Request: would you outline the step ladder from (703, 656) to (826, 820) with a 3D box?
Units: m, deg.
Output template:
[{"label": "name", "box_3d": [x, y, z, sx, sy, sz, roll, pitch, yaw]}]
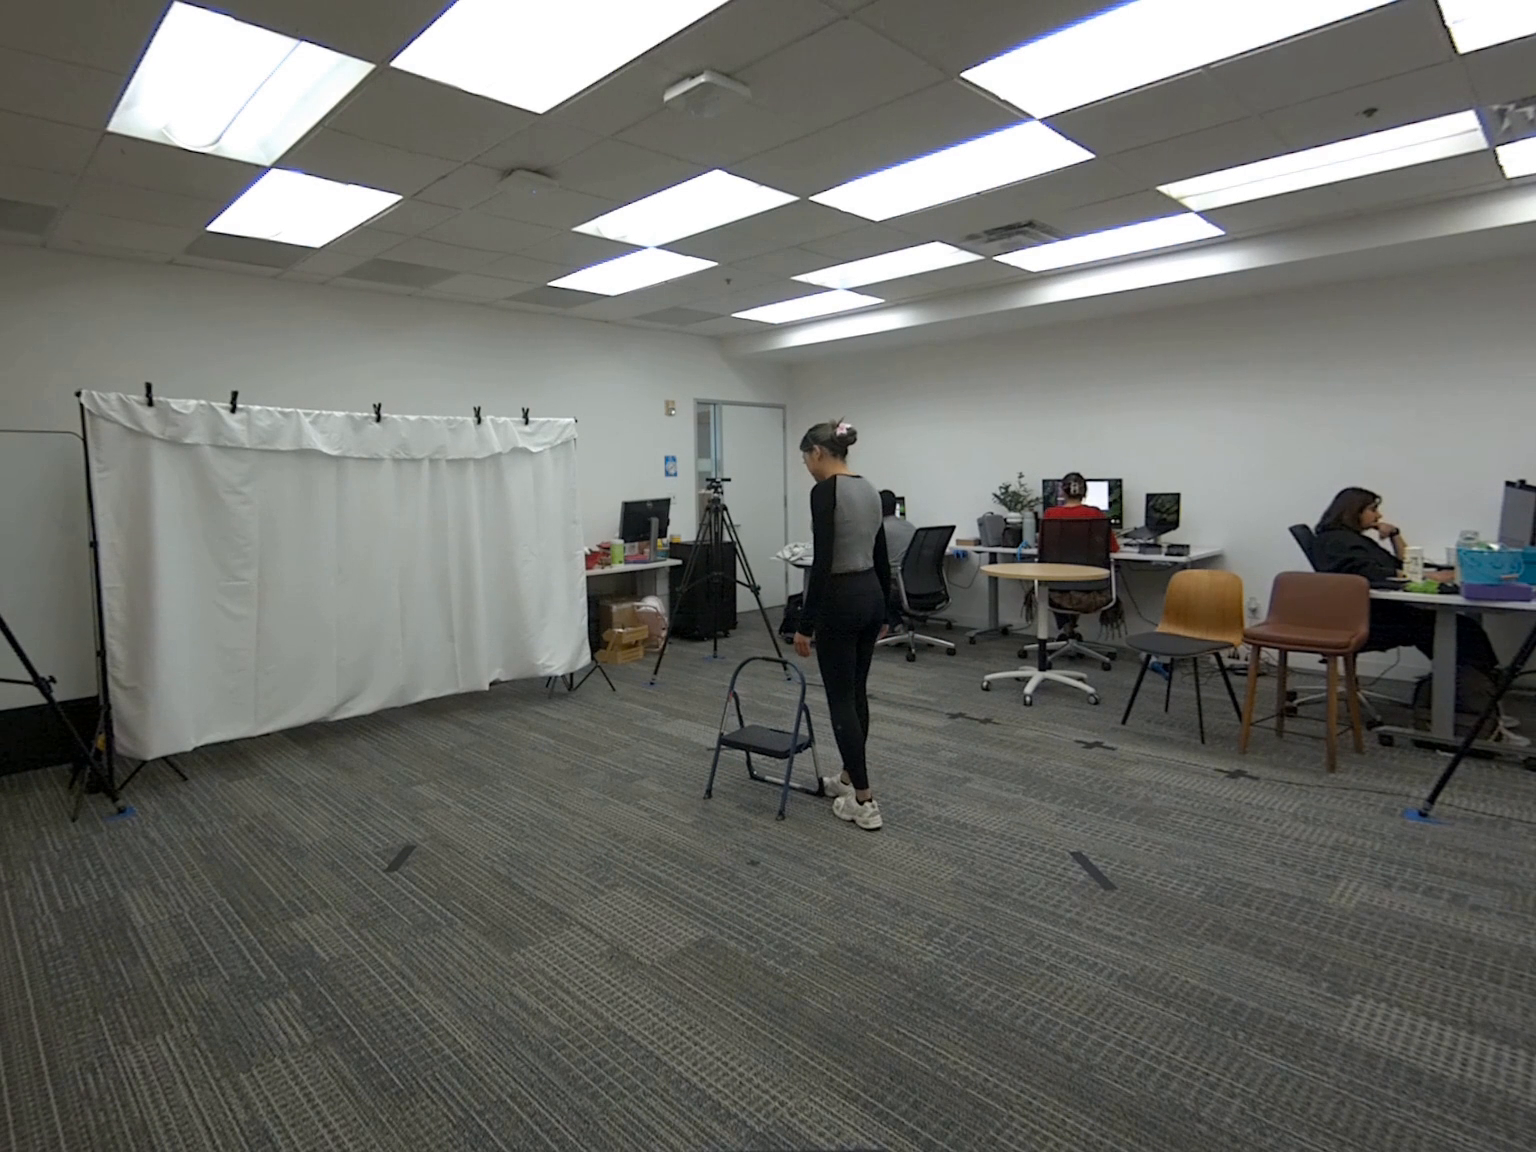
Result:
[{"label": "step ladder", "box_3d": [-0.017, 0.671, 3.732, 0.443, 0.604, 0.340, 3, 6, 38]}]
